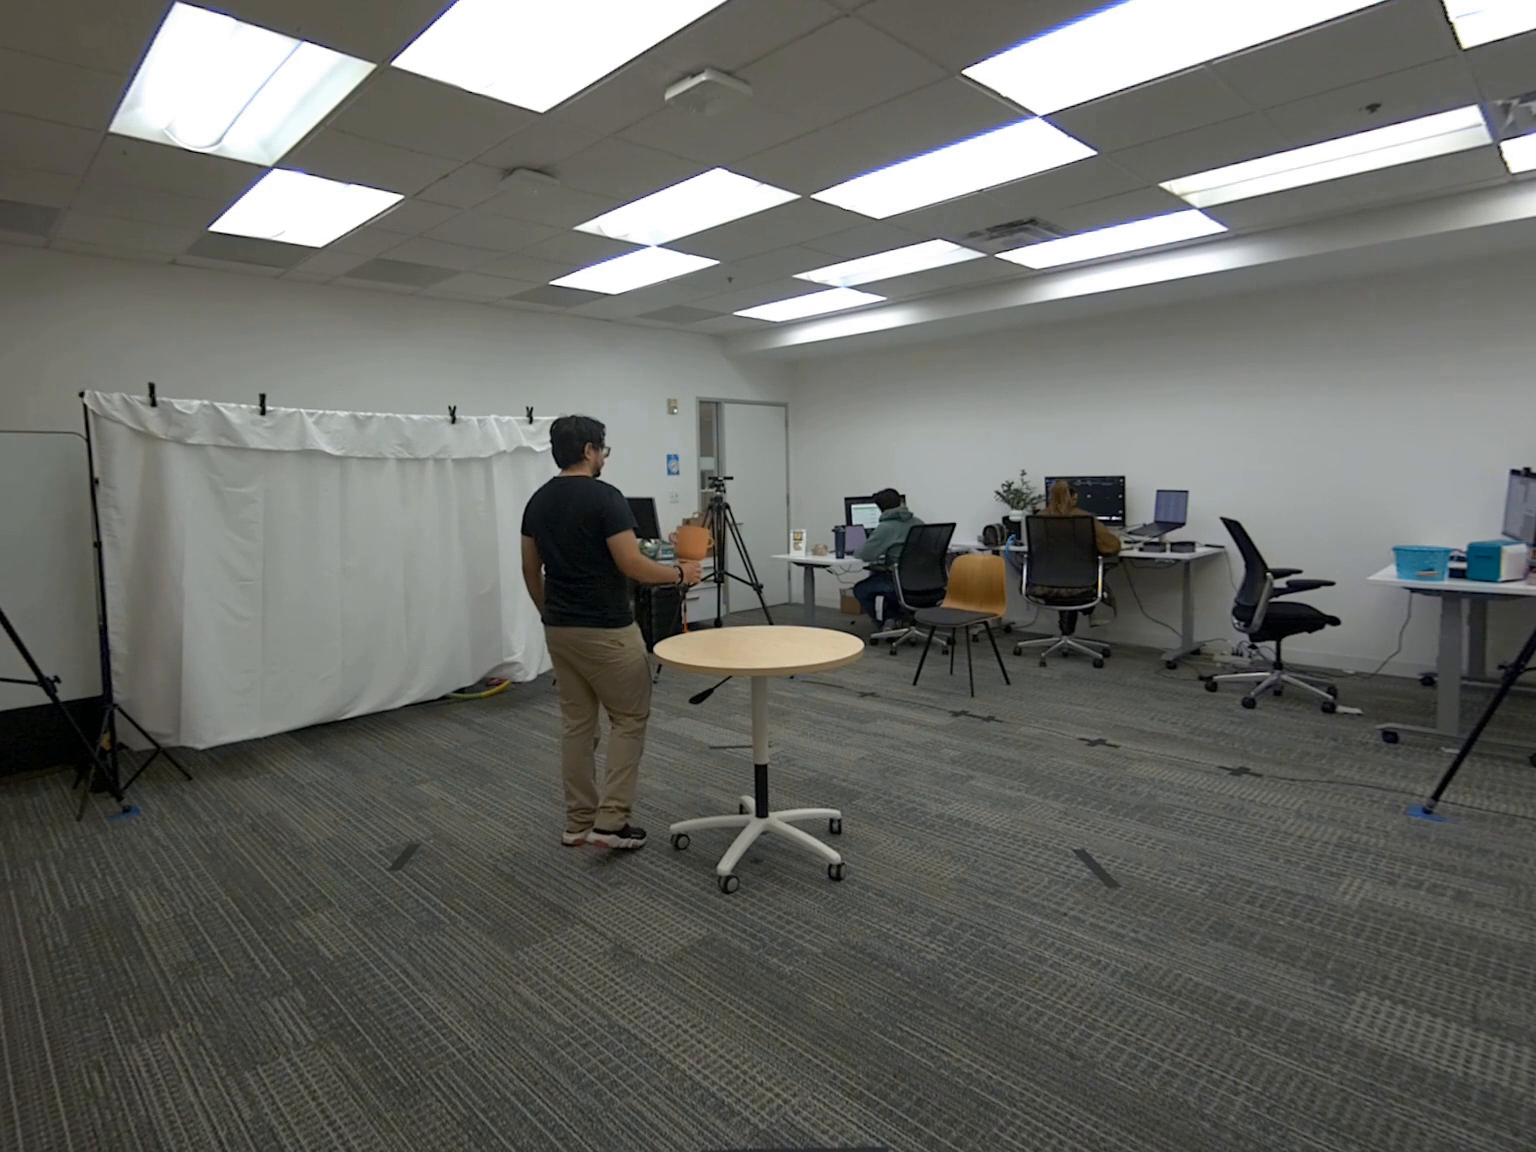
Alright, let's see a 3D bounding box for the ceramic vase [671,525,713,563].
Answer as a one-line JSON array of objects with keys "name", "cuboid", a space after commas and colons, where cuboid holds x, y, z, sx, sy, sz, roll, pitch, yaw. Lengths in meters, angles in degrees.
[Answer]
[{"name": "ceramic vase", "cuboid": [-0.320, -0.084, 3.459, 0.161, 0.221, 0.132, 6, -5, 14]}]
